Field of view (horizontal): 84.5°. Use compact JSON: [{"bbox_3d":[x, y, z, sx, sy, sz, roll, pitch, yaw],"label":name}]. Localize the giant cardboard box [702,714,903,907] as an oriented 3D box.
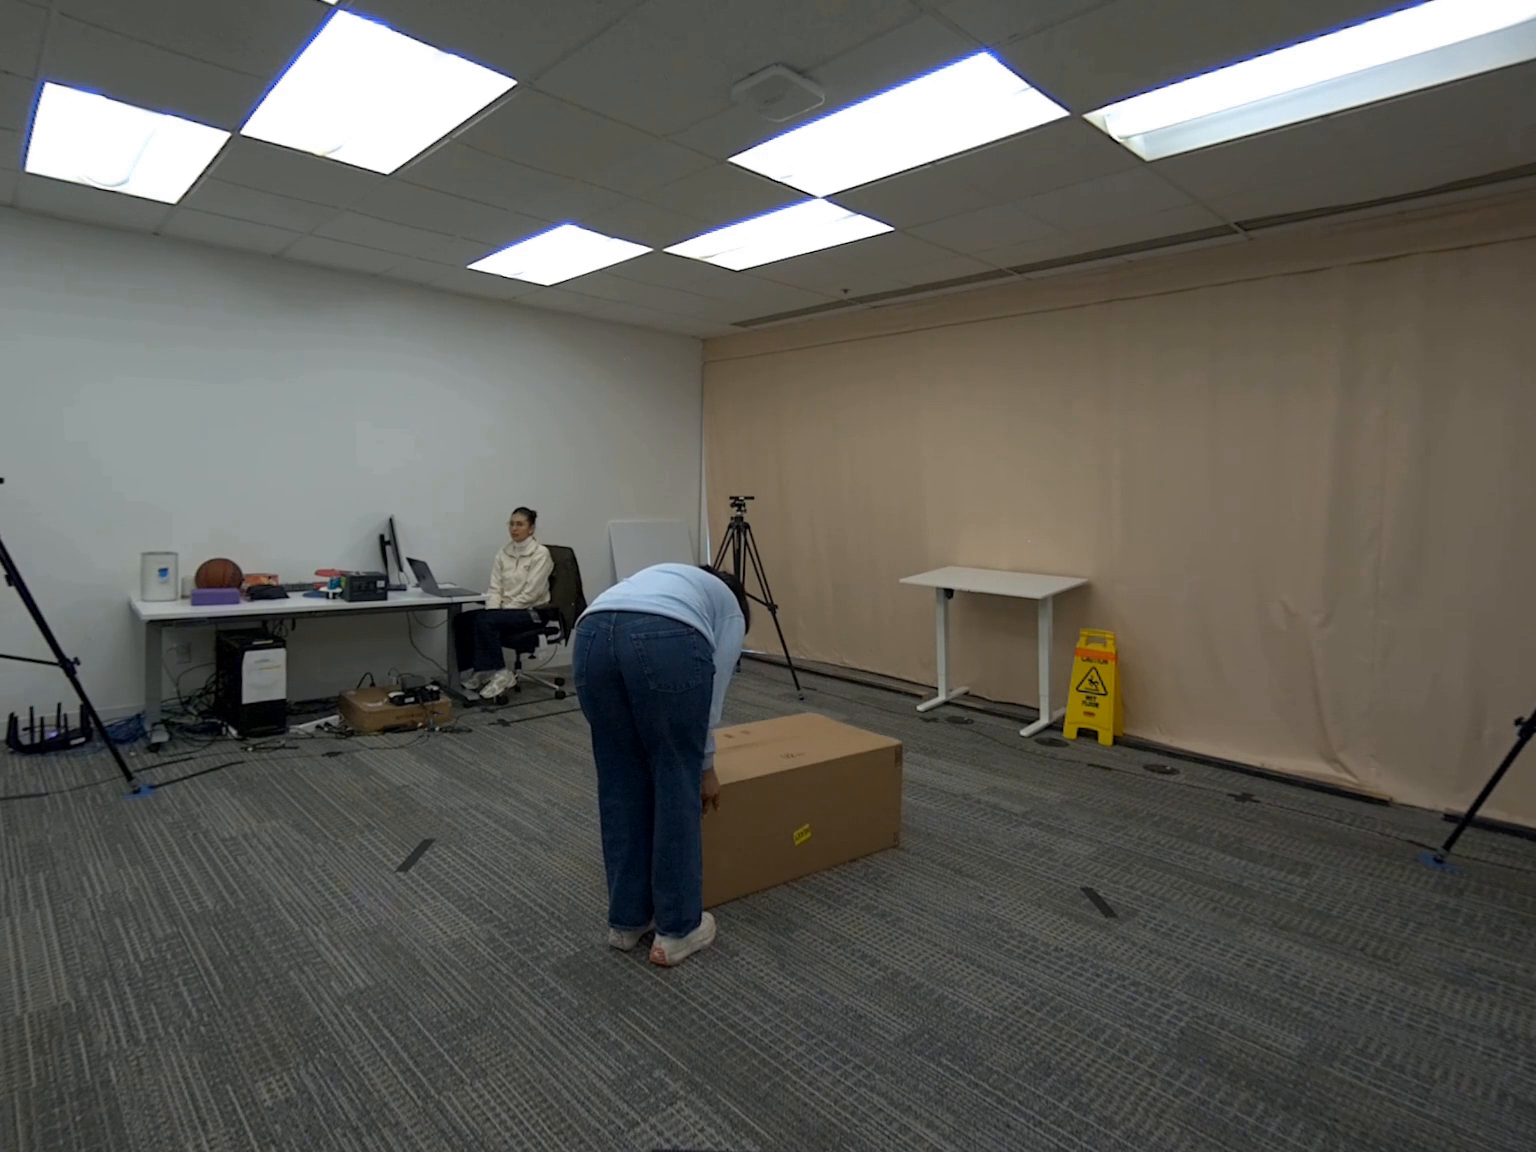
[{"bbox_3d":[-0.034,0.876,3.330,1.003,0.425,0.592,-3,6,-38],"label":"giant cardboard box"}]
